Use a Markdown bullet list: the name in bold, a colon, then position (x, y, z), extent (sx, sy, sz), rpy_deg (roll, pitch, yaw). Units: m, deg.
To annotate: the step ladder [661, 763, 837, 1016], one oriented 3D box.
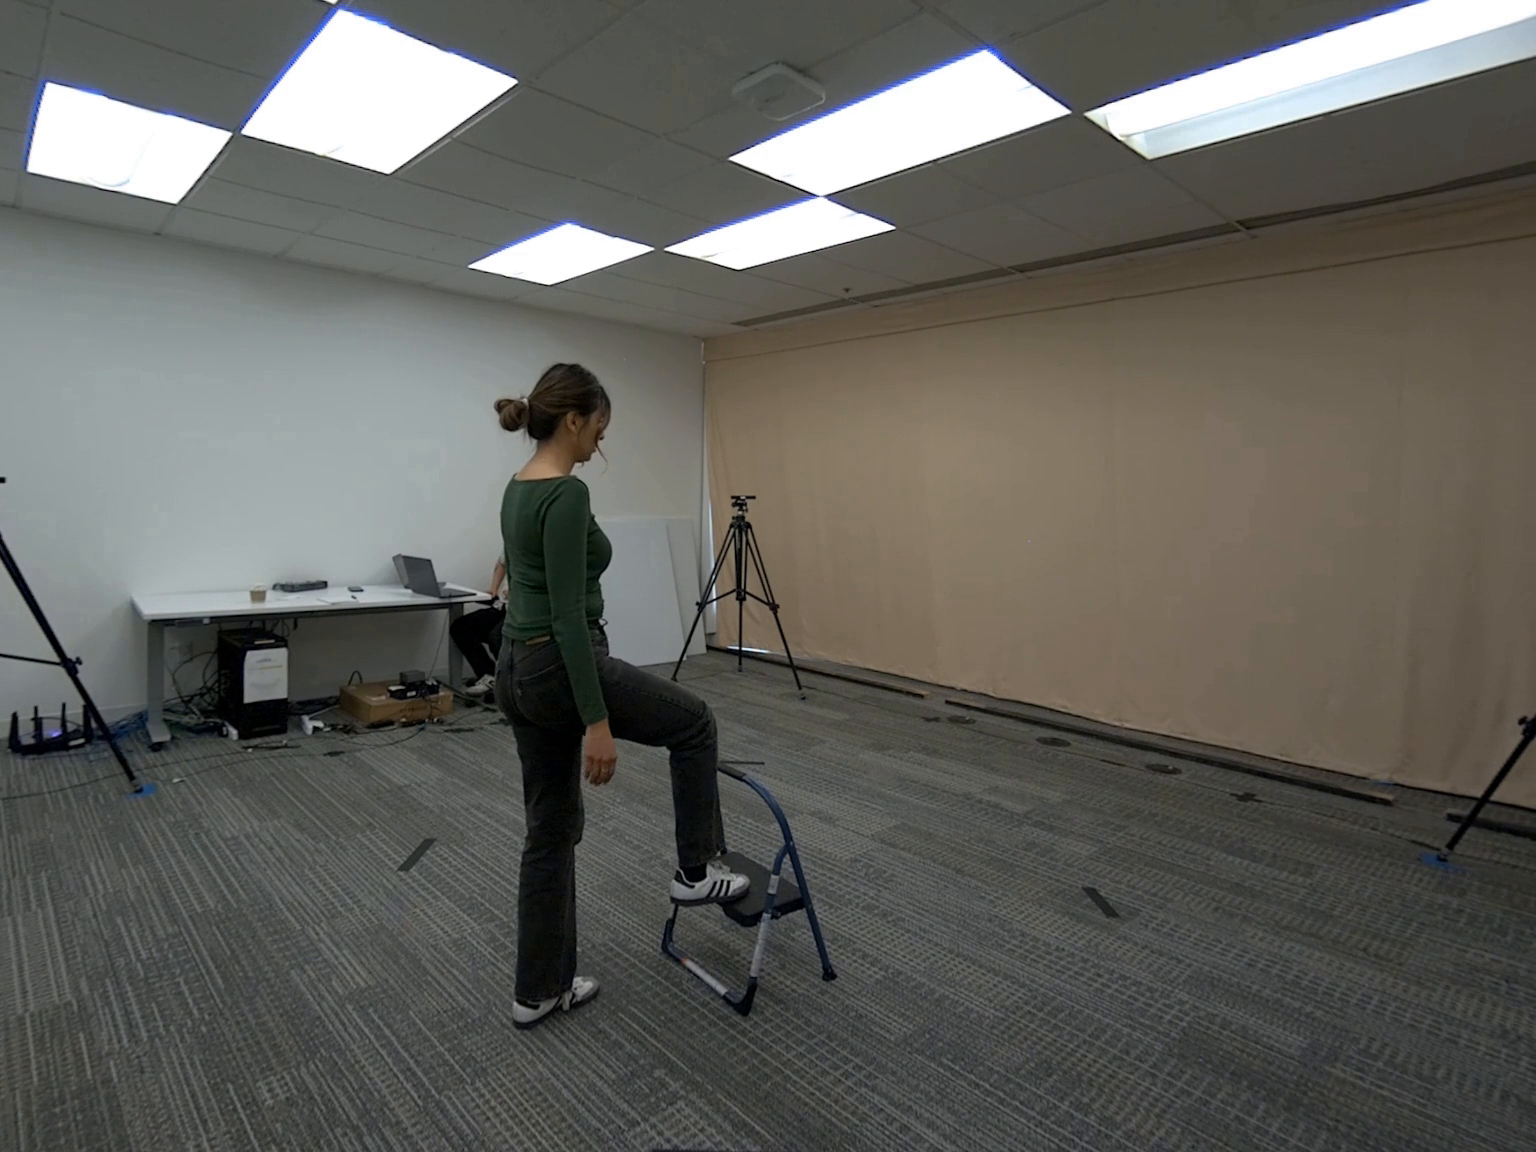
- **step ladder**: position (-0.063, 0.857, 2.497), extent (0.341, 0.604, 0.441), rpy_deg (-2, 5, -40)
